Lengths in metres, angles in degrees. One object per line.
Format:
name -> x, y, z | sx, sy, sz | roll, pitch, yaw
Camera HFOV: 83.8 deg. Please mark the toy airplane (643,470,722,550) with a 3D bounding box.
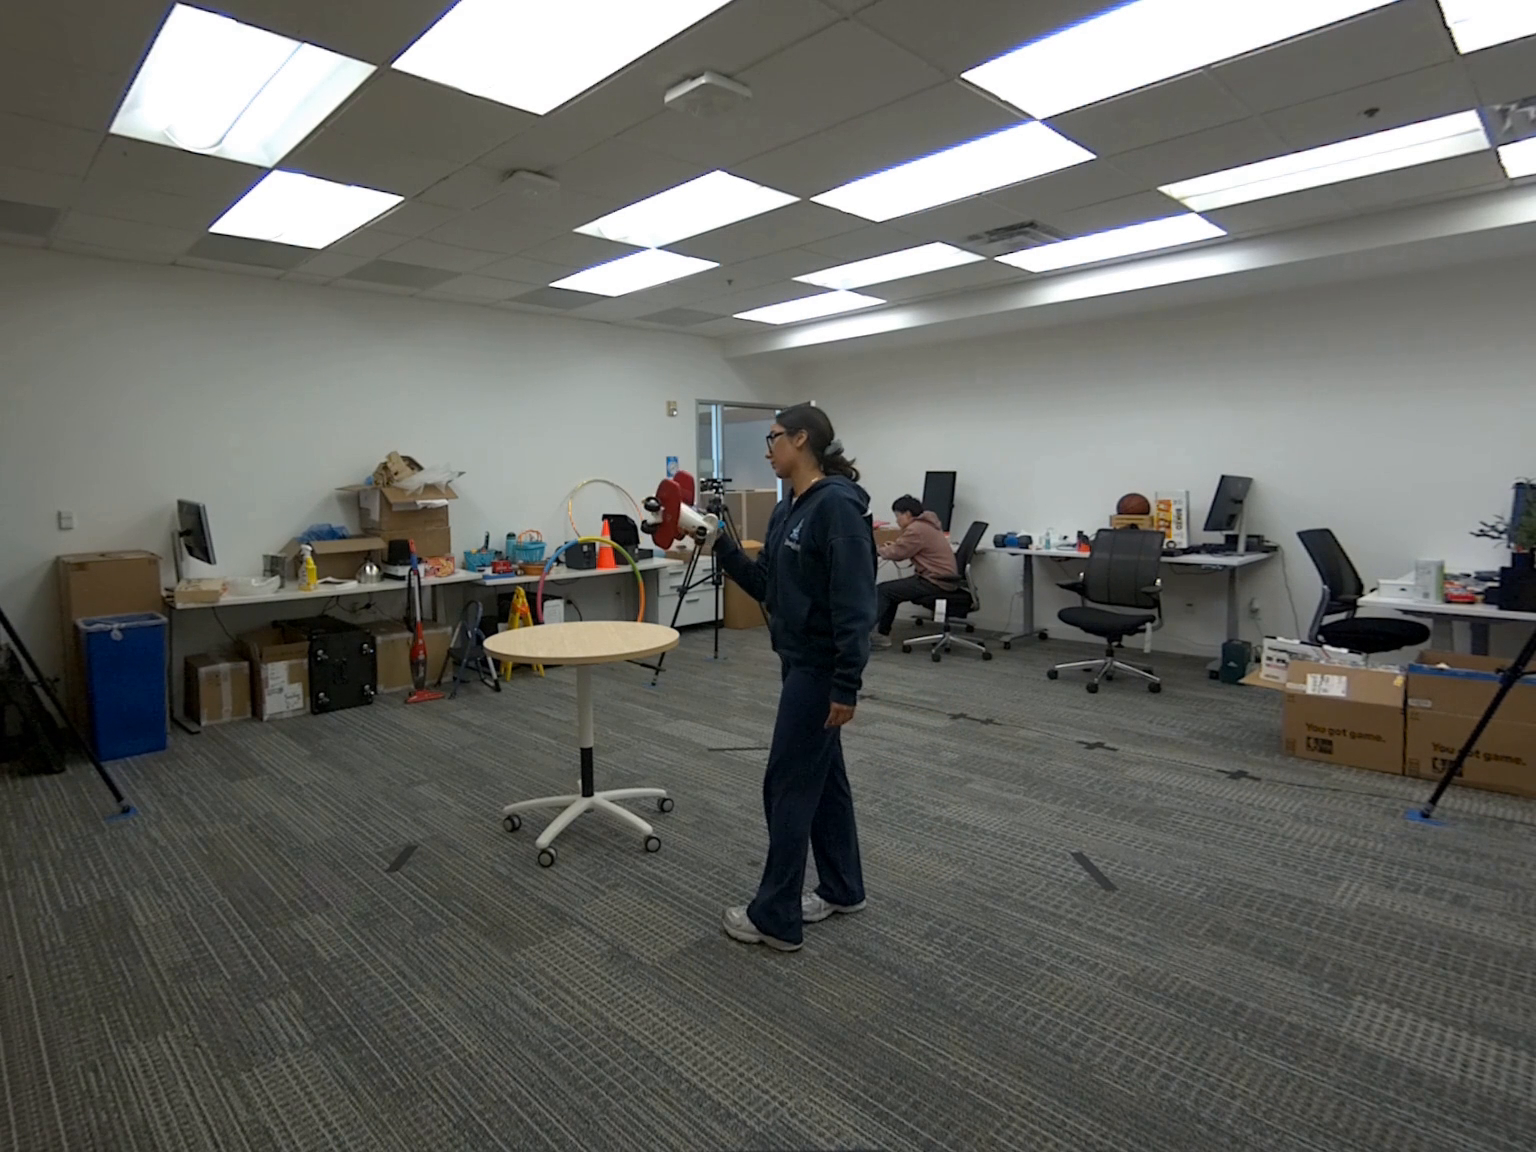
toy airplane -> -0.277, -0.173, 2.720 | 0.251, 0.258, 0.157 | -44, 5, 36
